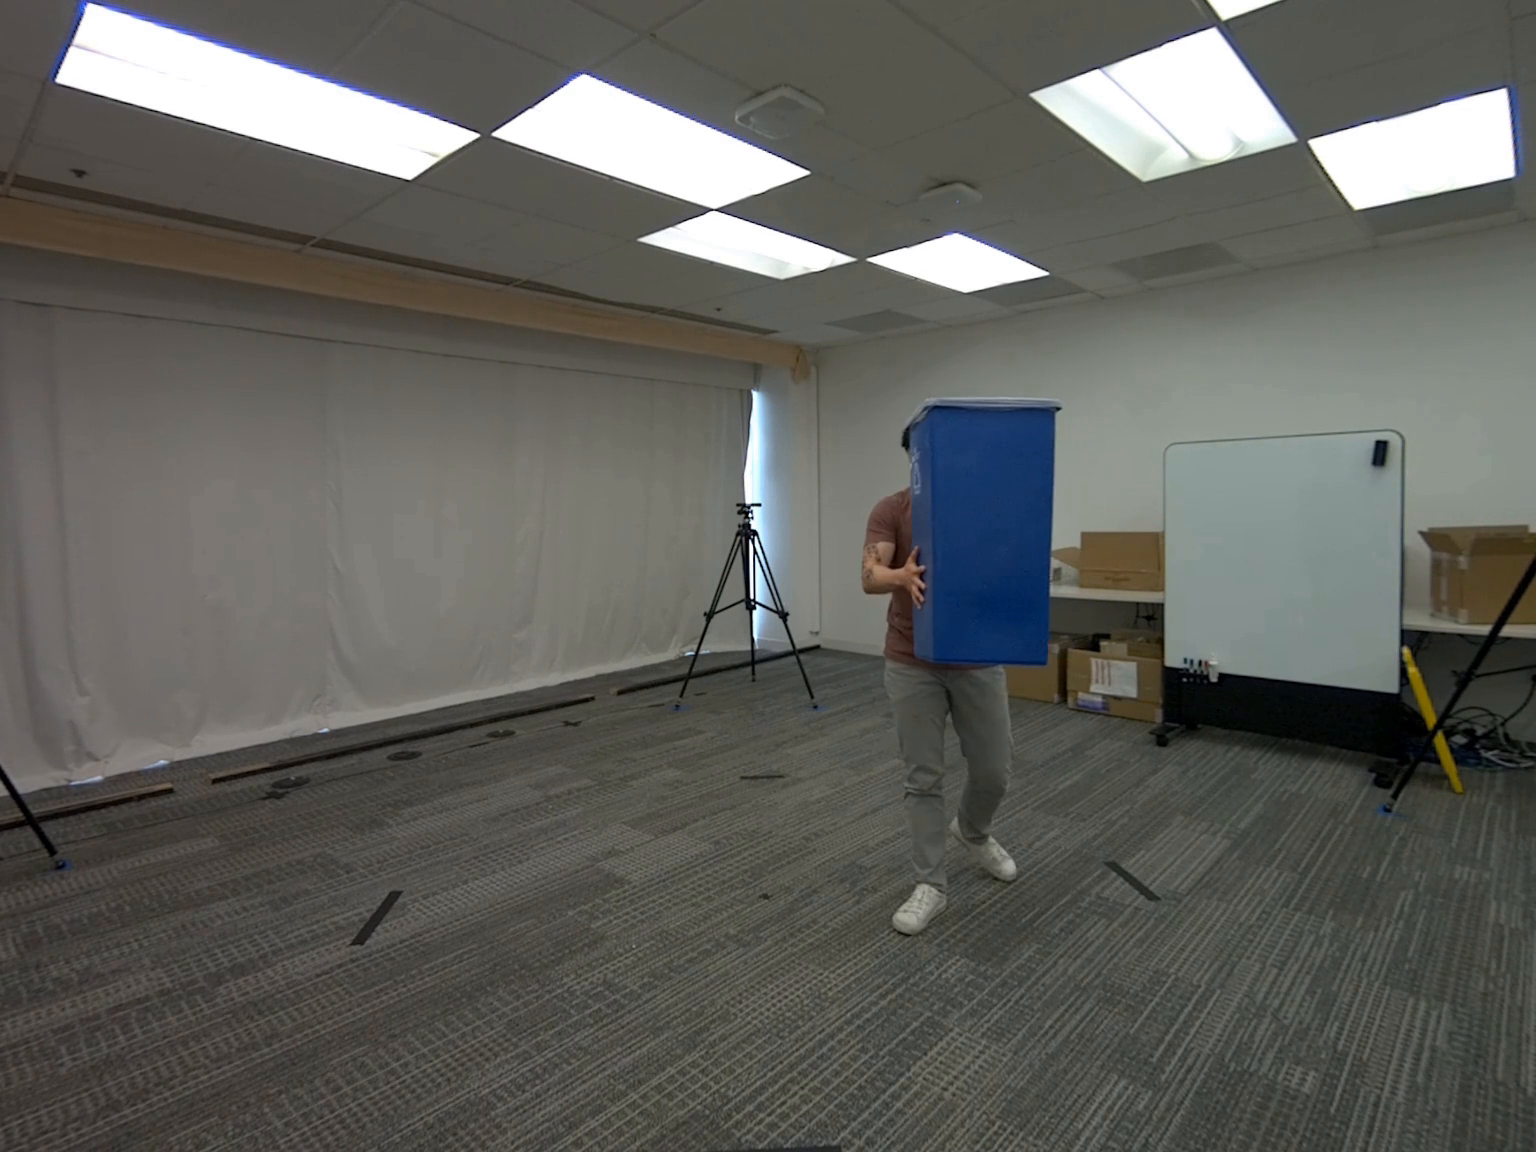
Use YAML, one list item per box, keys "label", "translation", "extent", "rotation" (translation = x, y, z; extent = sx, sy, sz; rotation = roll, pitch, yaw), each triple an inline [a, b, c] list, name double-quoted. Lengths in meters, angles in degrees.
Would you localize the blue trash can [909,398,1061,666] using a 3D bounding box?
- label: "blue trash can"
  translation: [0.614, -0.118, 2.396]
  extent: [0.379, 0.716, 0.372]
  rotation: [0, -5, 2]
